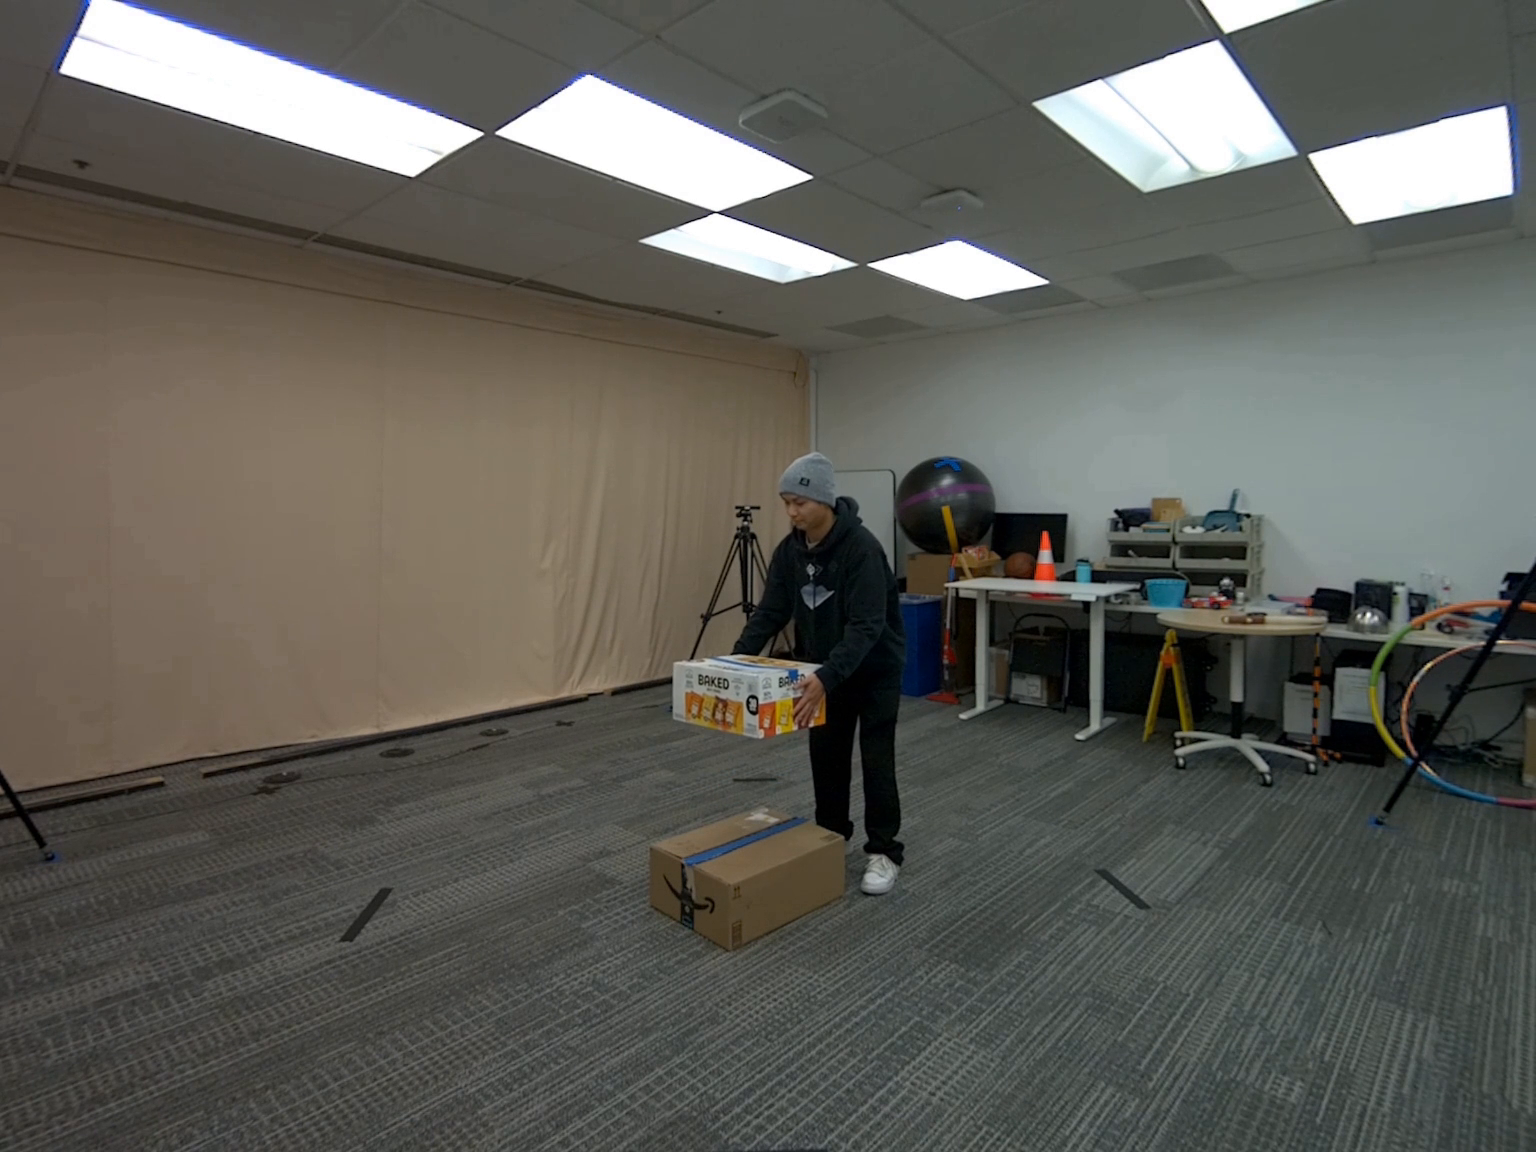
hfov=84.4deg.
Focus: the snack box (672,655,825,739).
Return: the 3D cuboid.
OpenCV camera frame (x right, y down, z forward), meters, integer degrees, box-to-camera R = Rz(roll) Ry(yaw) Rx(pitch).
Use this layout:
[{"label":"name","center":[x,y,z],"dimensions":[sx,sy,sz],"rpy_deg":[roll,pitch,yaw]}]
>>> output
[{"label":"snack box","center":[-0.066,0.406,2.910],"dimensions":[0.418,0.205,0.329],"rpy_deg":[2,2,44]}]
